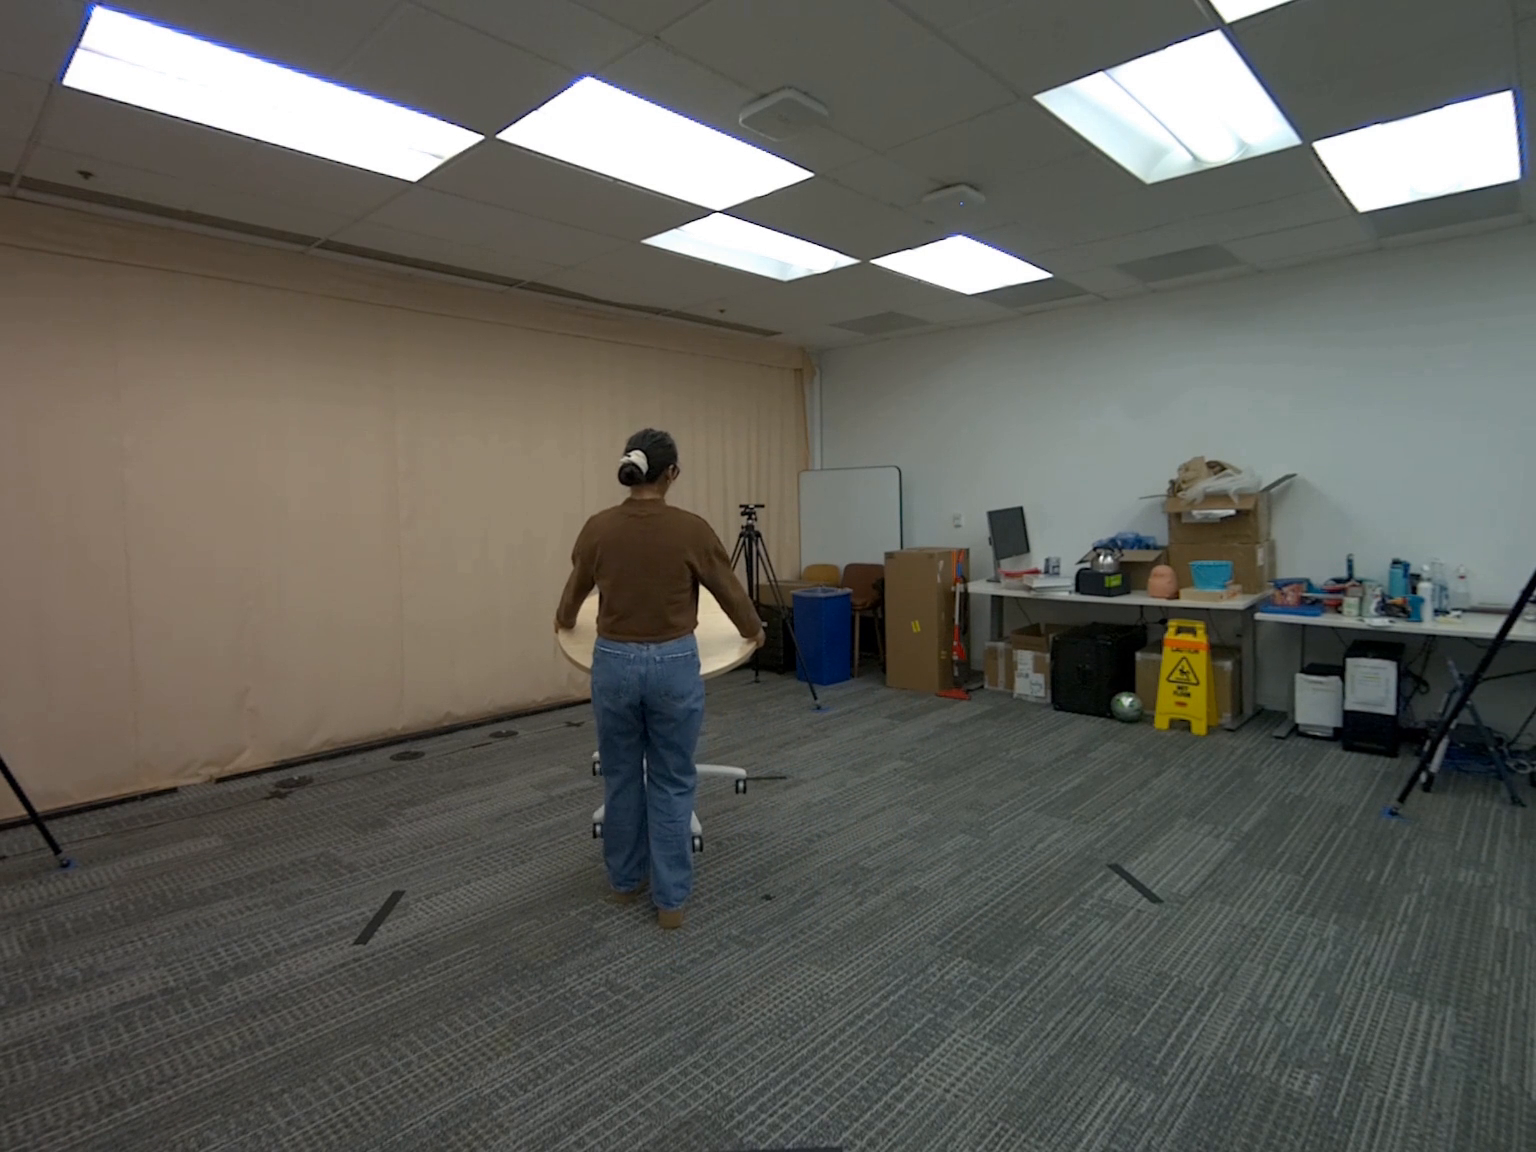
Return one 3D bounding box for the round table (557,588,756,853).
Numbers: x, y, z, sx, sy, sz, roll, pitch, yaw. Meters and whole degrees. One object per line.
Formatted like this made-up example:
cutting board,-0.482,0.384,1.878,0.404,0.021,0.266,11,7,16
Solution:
round table,-0.432,0.549,3.377,0.784,0.776,0.797,1,24,-2
